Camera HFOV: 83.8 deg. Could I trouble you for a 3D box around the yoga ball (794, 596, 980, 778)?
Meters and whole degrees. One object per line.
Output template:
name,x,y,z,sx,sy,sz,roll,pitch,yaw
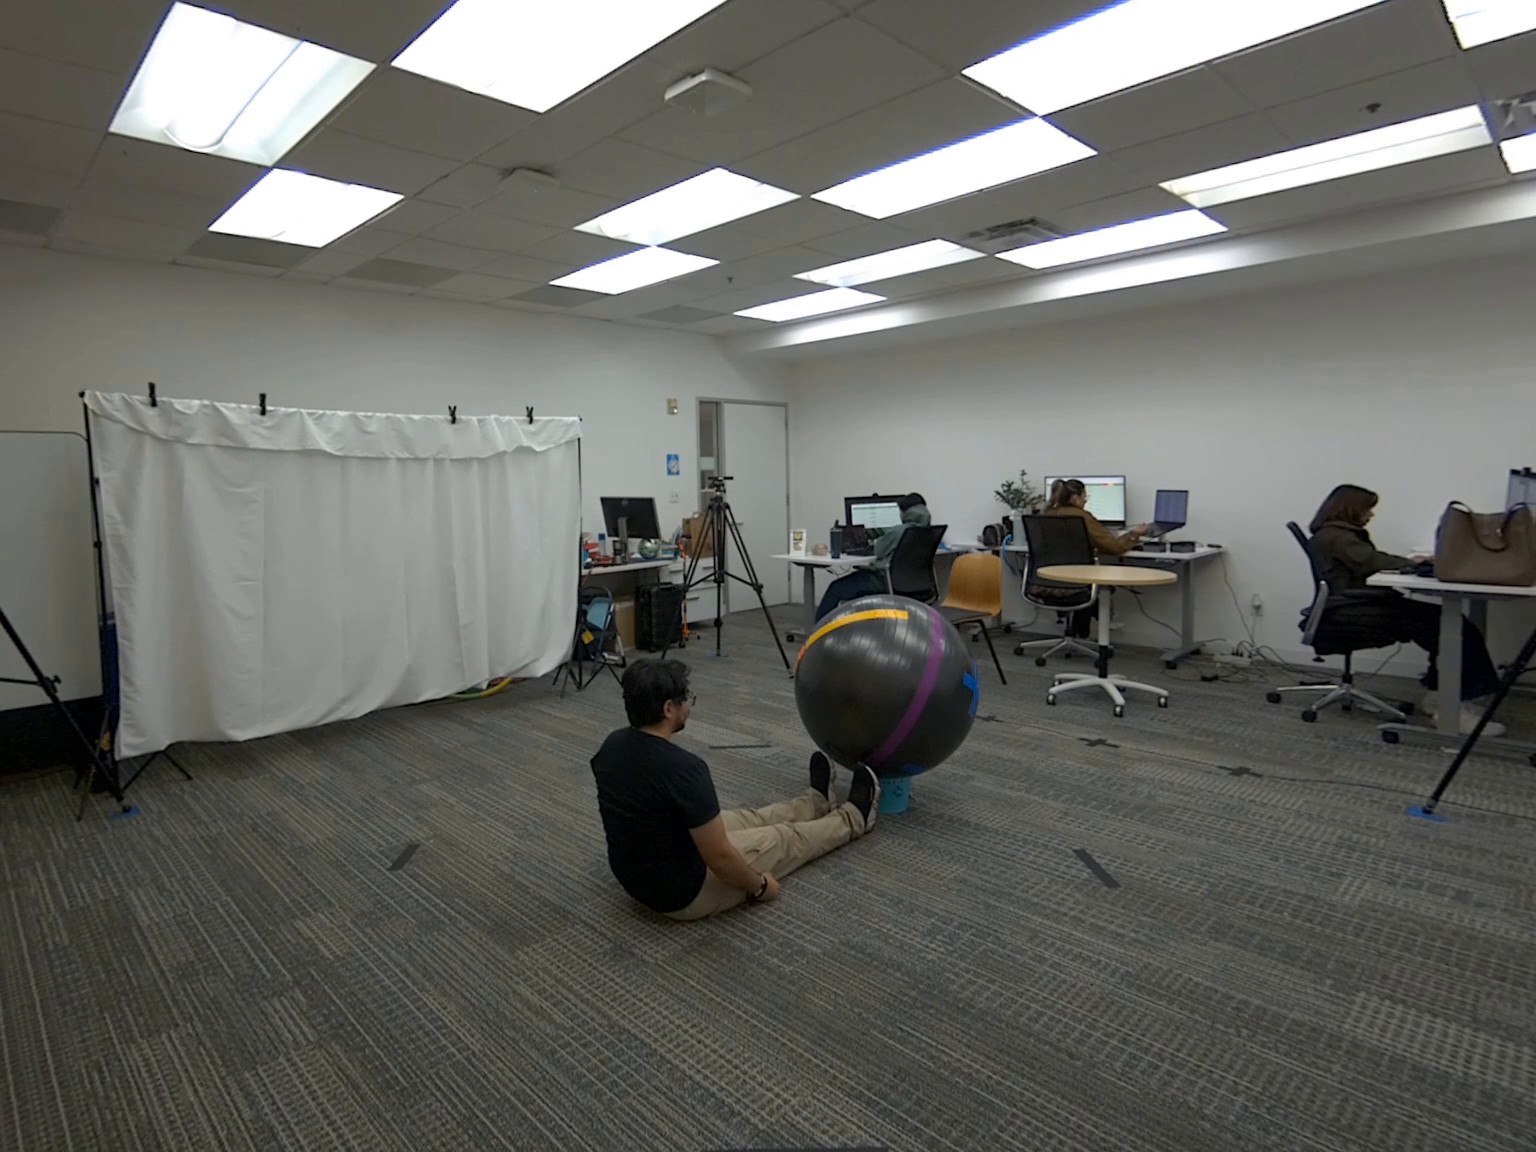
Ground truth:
yoga ball,0.491,0.463,3.587,0.757,0.755,0.762,-1,5,-2
